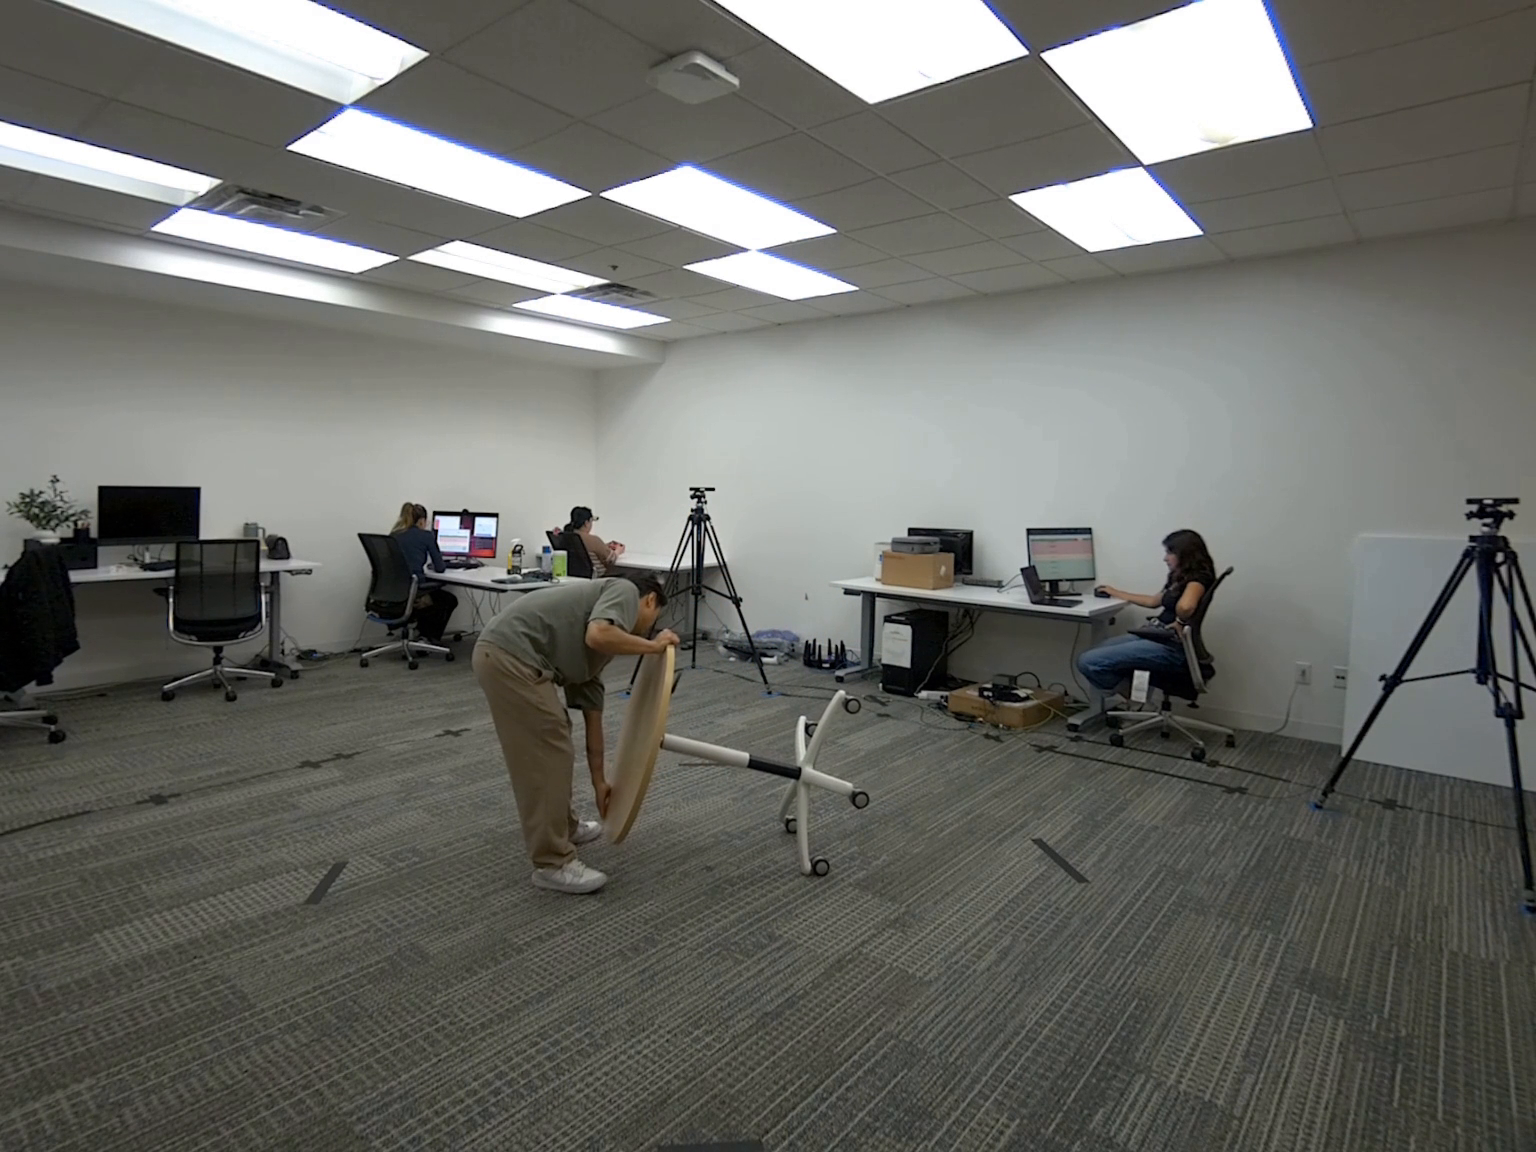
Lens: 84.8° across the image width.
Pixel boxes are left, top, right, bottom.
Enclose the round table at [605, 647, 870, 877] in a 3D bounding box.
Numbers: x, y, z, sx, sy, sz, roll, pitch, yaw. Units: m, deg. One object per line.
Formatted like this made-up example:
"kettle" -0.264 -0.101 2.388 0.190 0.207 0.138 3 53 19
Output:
"round table" -0.126 0.667 3.190 0.774 0.785 0.798 16 1 -14
